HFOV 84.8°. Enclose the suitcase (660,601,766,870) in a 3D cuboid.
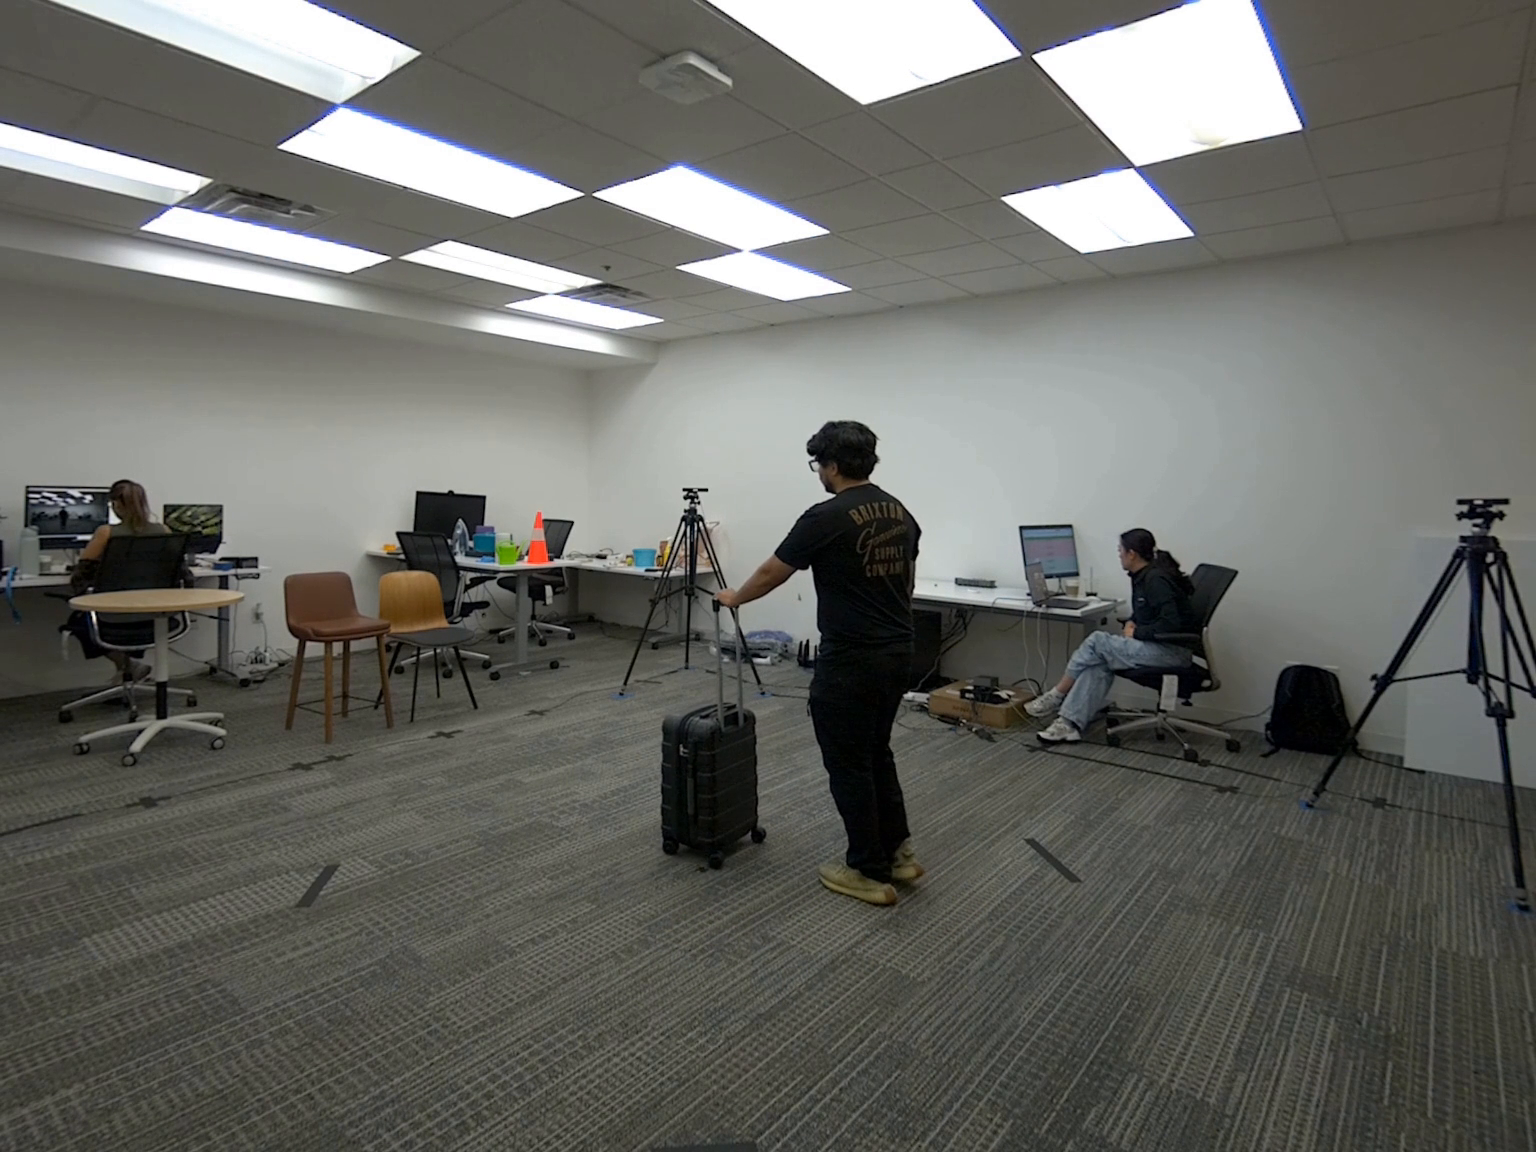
[{"bbox_3d":[-0.241,0.575,3.302,0.264,0.978,0.373,-3,1,33],"label":"suitcase"}]
